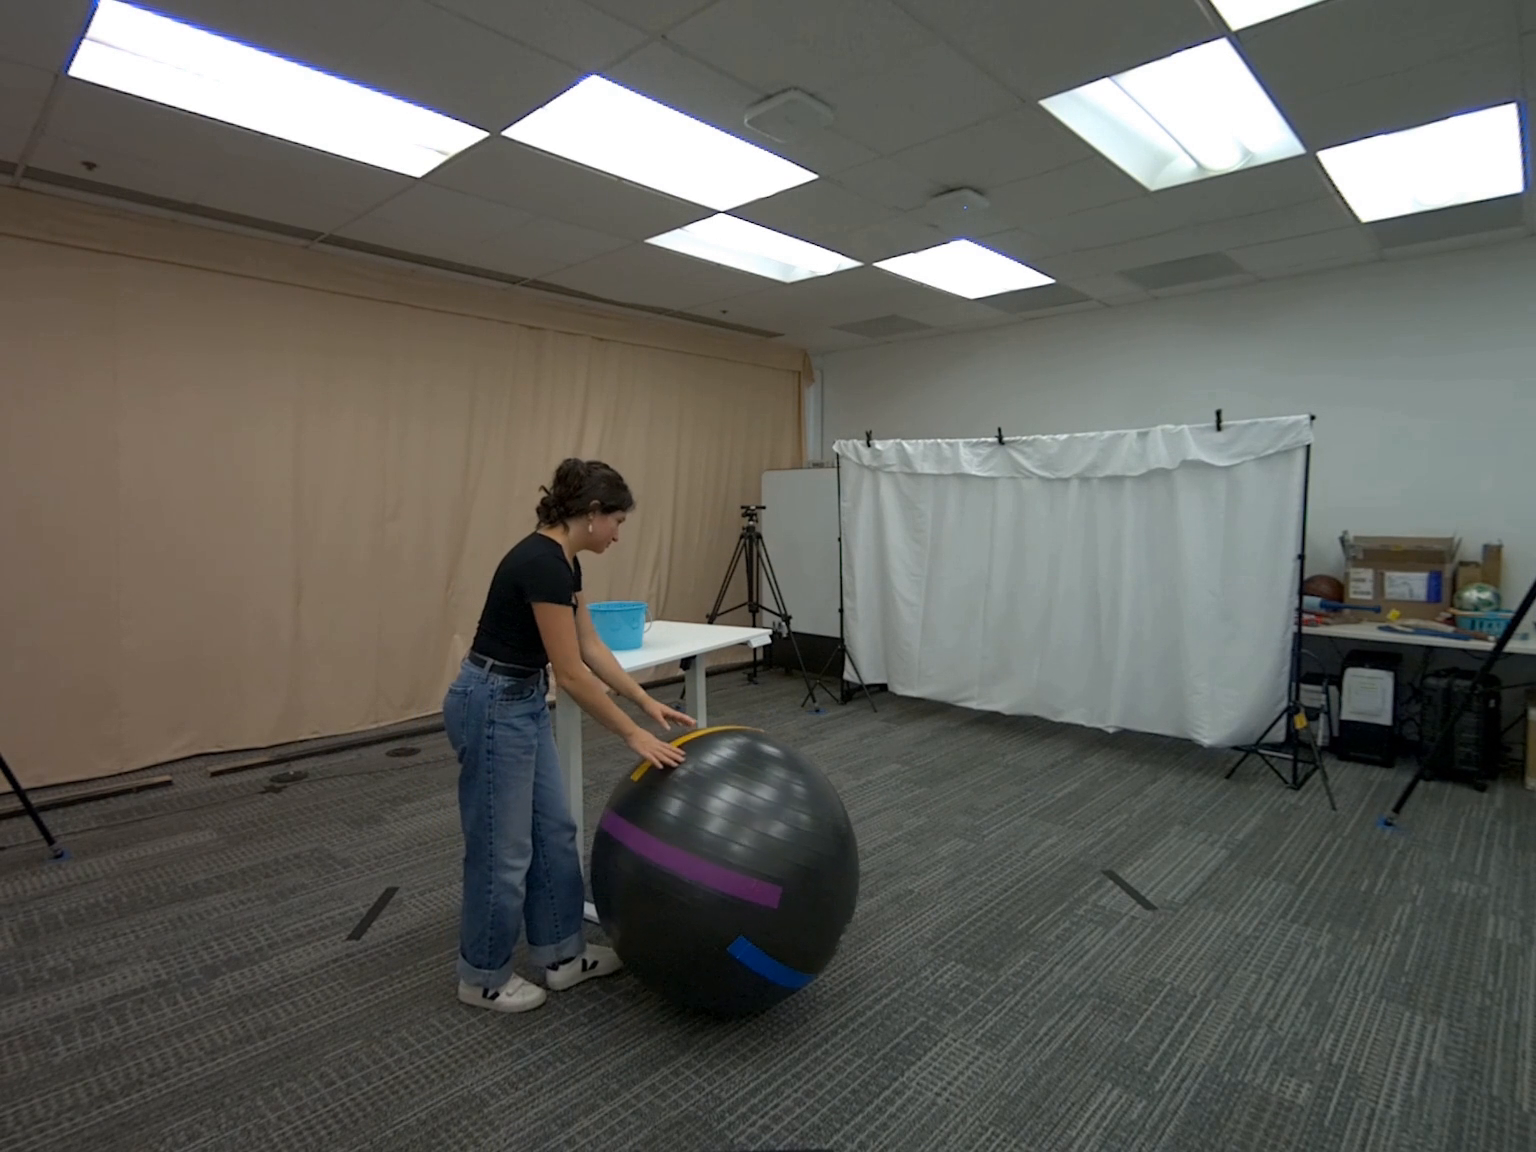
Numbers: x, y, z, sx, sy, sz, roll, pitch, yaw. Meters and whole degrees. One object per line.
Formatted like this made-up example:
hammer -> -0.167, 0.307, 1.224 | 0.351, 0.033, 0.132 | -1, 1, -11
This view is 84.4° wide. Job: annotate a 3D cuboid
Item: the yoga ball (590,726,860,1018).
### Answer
yoga ball -> -0.102, 0.841, 2.380 | 0.757, 0.756, 0.760 | 0, 4, -2
